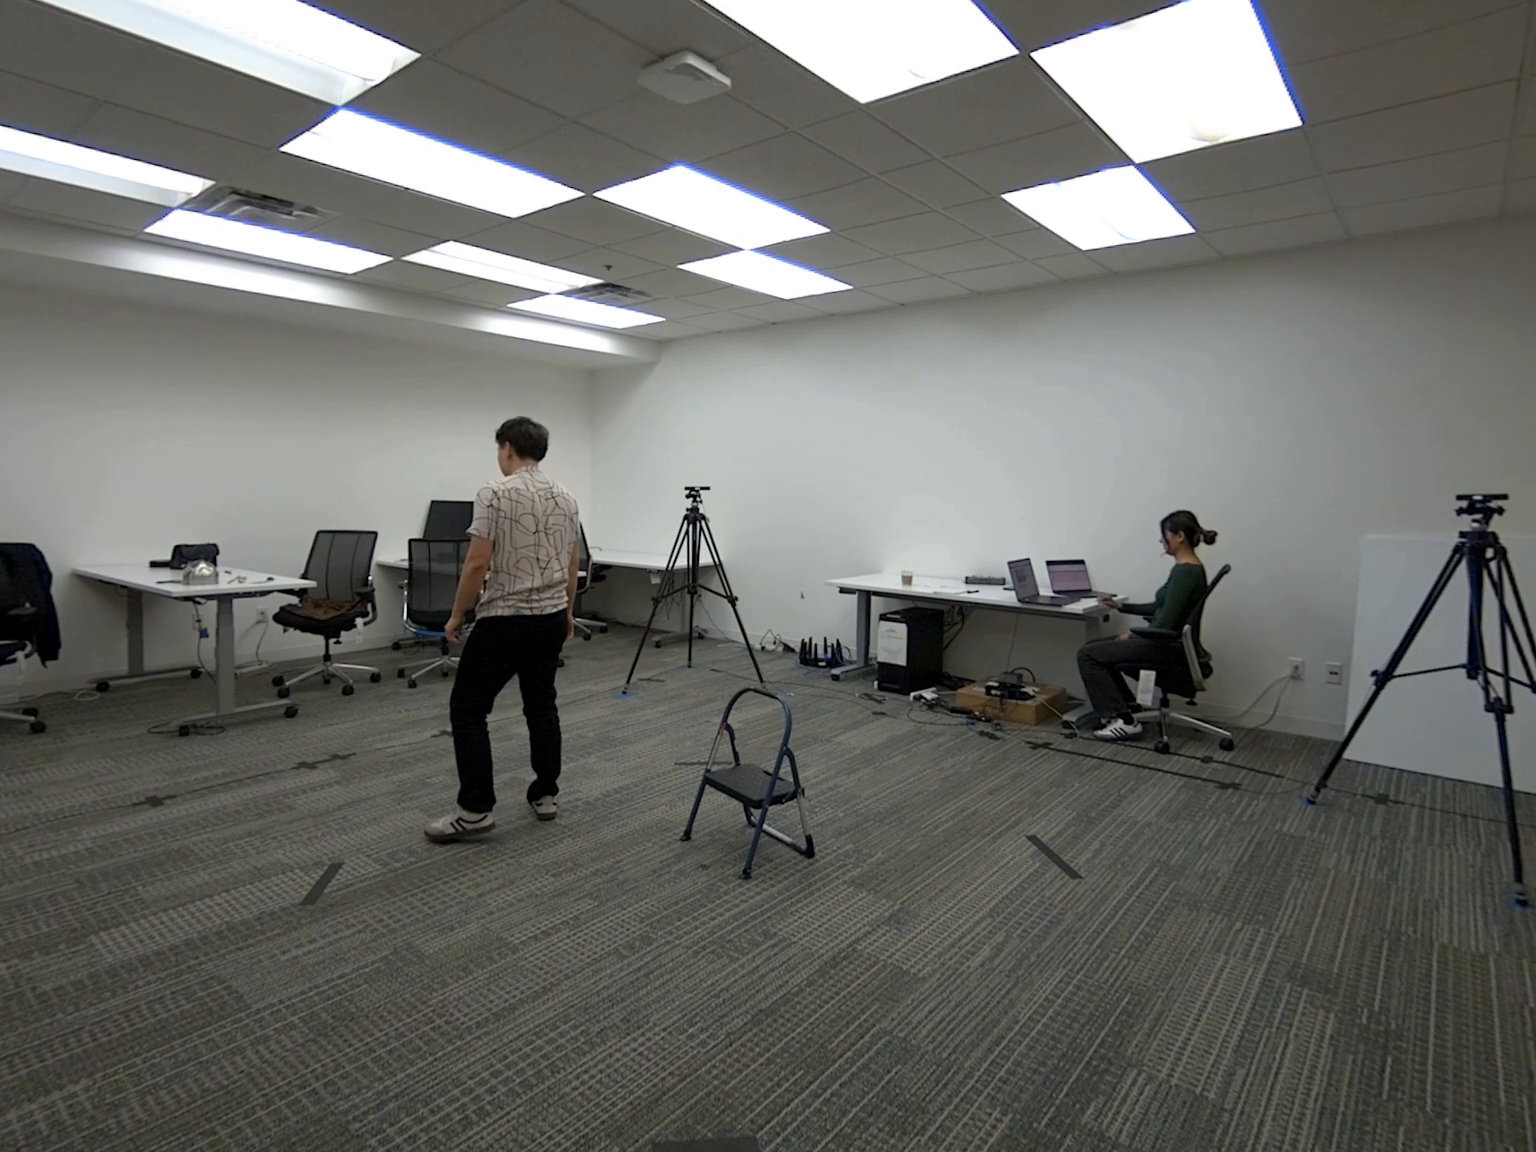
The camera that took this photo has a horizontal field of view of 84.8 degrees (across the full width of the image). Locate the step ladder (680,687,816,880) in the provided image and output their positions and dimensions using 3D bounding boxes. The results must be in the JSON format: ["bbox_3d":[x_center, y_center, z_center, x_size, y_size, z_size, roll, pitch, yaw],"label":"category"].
[{"bbox_3d":[-0.081,0.744,3.270,0.339,0.604,0.445,-1,4,-37],"label":"step ladder"}]
